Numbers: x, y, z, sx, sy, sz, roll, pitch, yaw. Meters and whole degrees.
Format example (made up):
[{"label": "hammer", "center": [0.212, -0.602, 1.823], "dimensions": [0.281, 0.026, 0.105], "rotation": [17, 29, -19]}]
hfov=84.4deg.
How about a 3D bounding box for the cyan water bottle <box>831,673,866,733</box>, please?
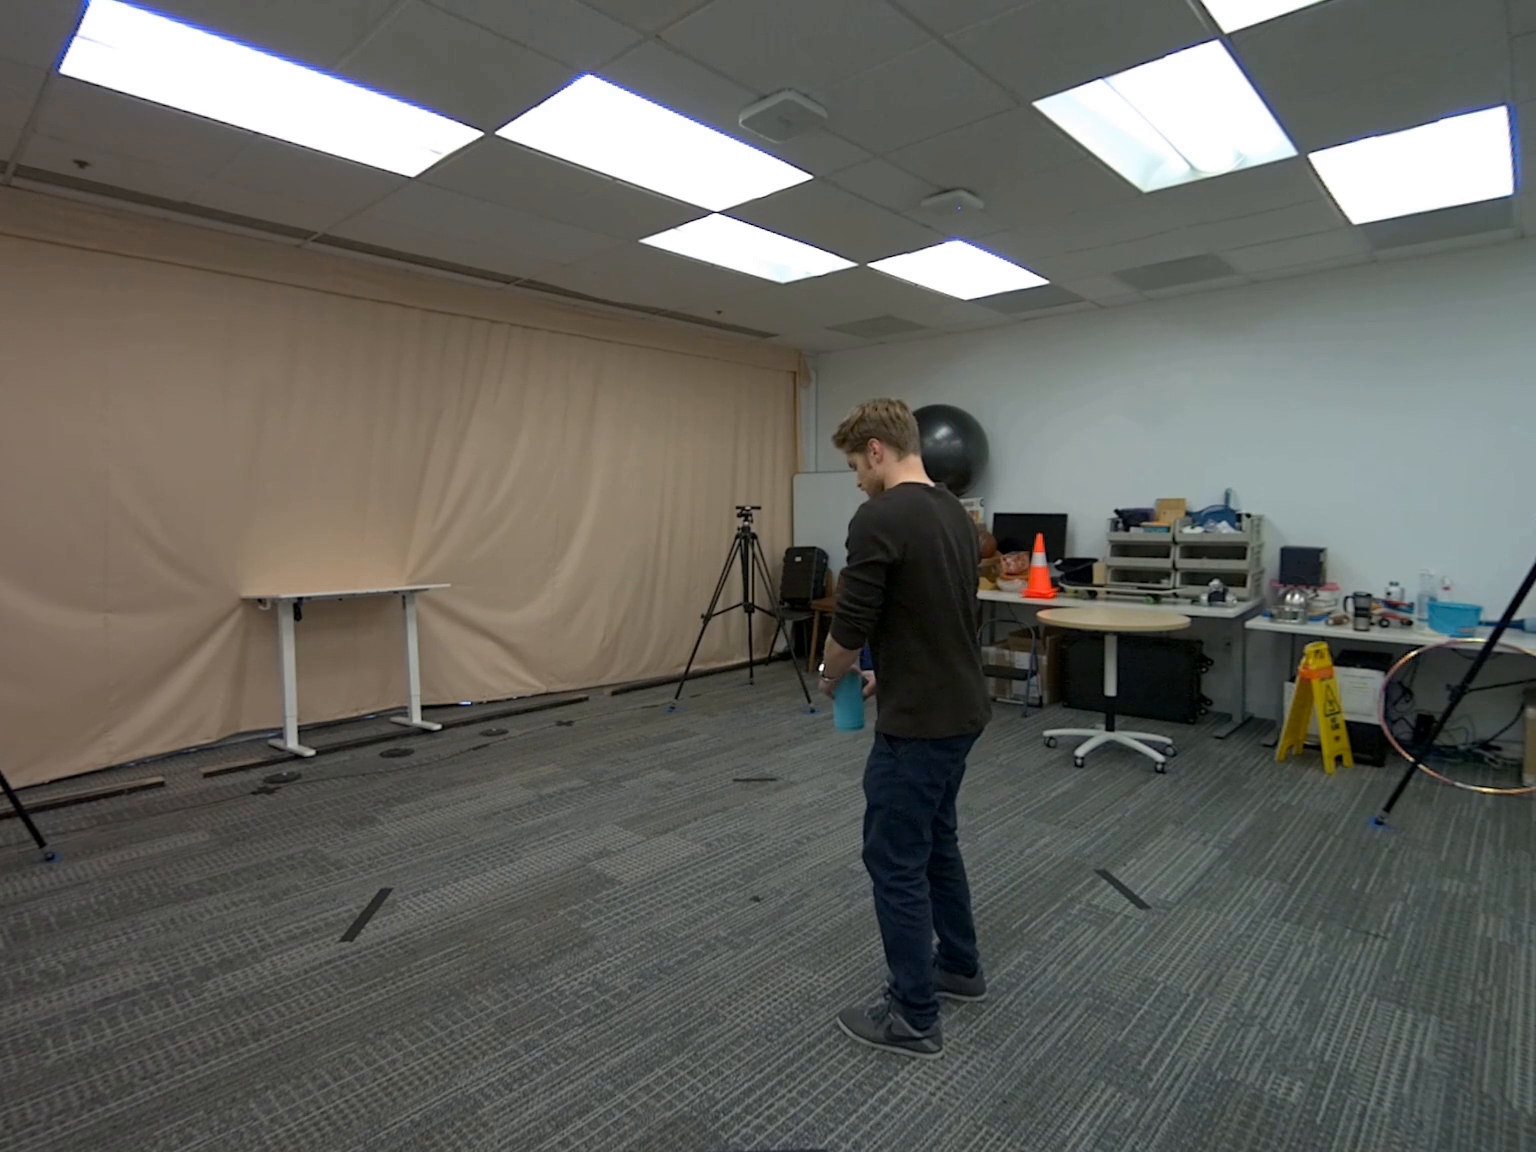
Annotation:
[{"label": "cyan water bottle", "center": [0.252, 0.310, 2.462], "dimensions": [0.092, 0.283, 0.092], "rotation": [-5, 1, -2]}]
